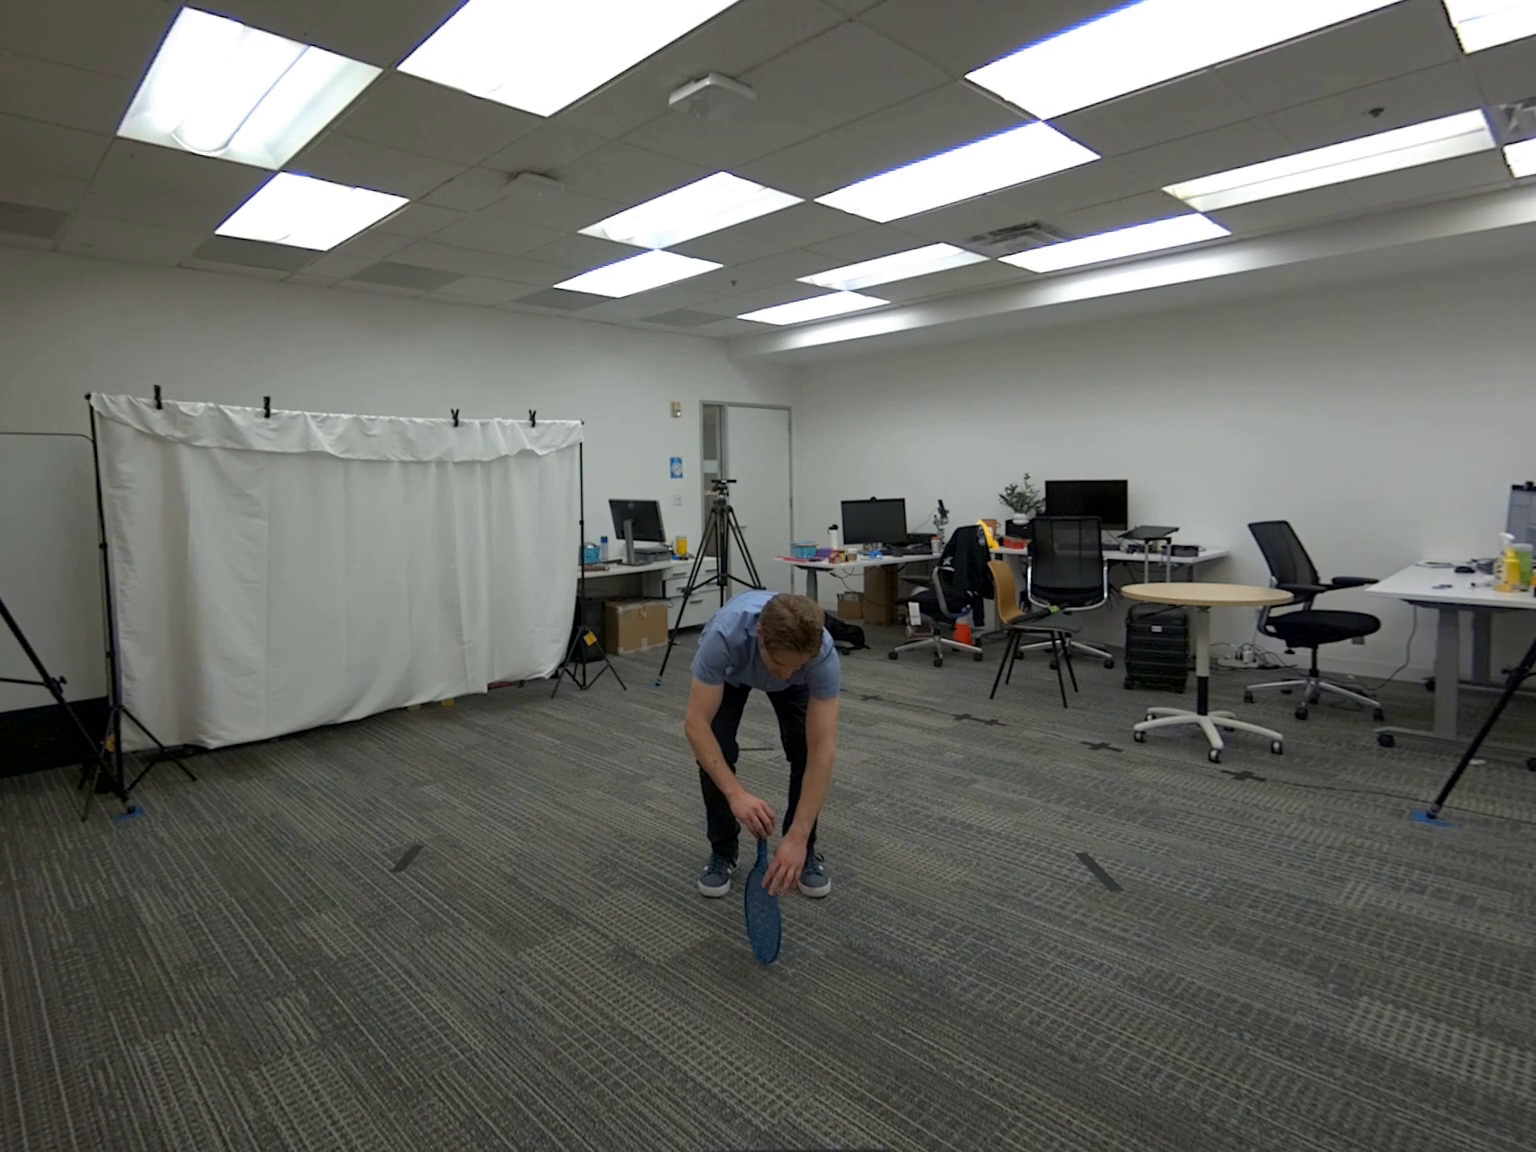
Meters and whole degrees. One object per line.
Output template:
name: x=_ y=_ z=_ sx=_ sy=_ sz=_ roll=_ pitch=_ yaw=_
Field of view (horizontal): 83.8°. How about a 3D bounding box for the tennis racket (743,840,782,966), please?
tennis racket: x=-0.011 y=0.903 z=2.481 sx=0.031 sy=0.432 sz=0.219 roll=-1 pitch=3 yaw=-29
